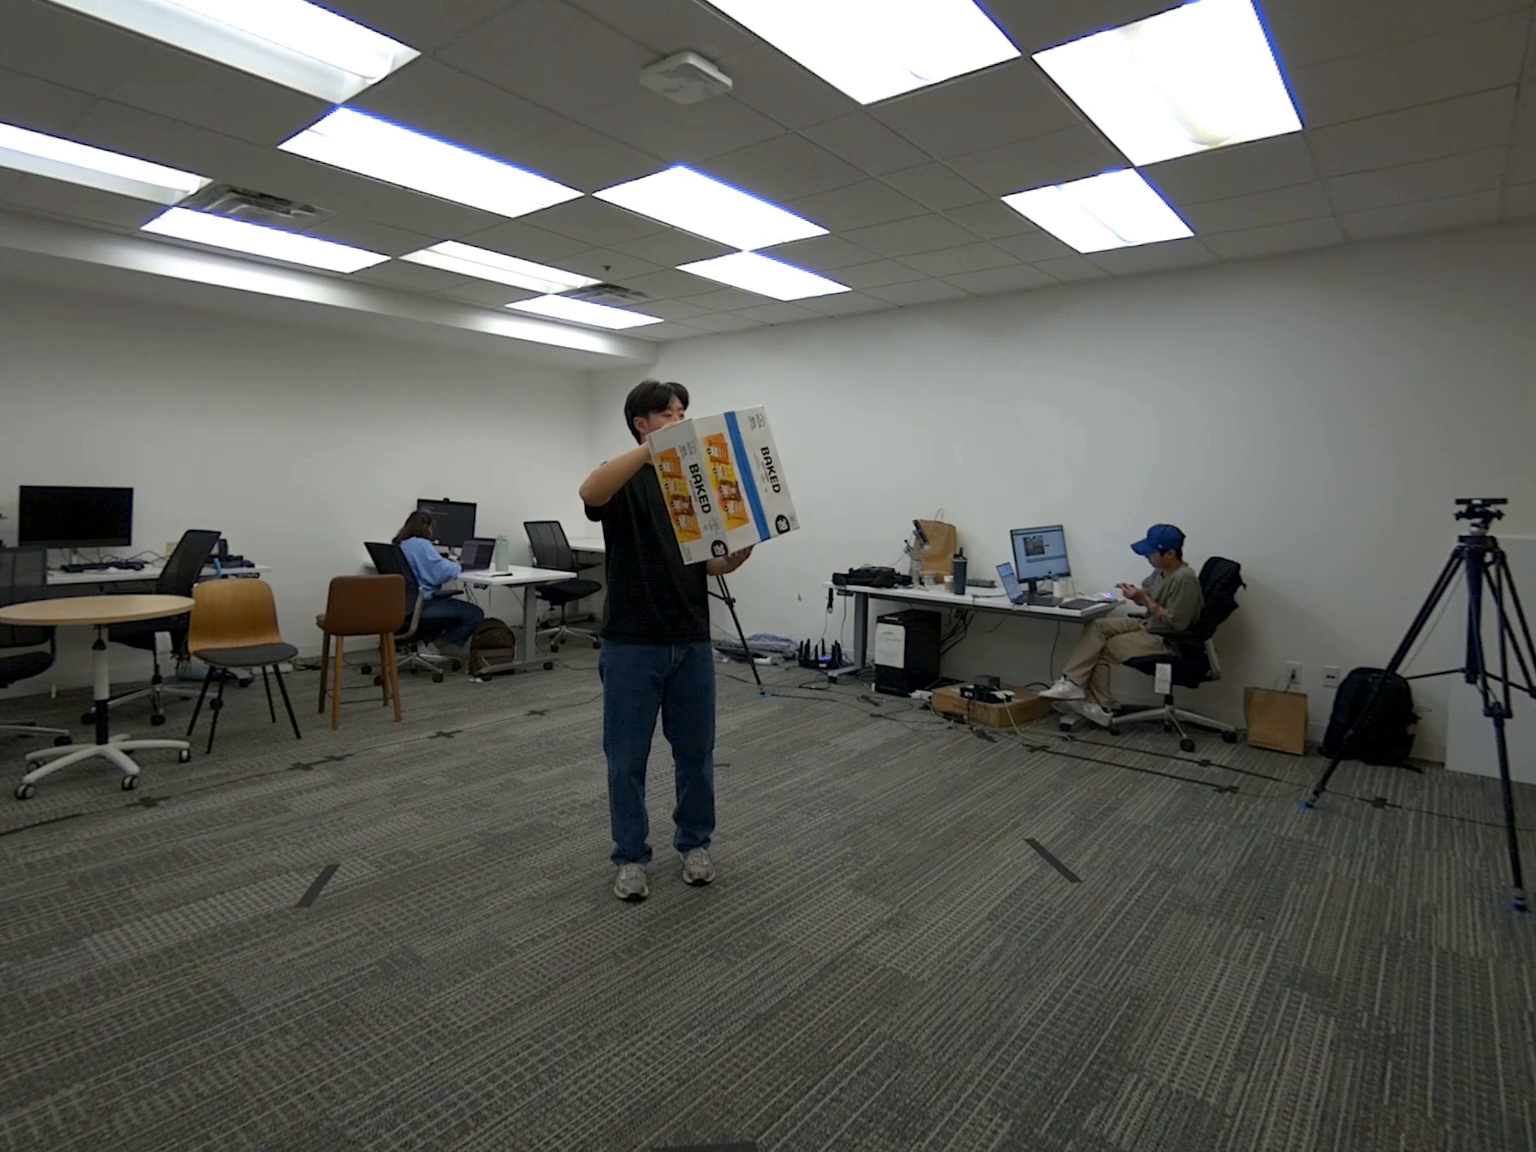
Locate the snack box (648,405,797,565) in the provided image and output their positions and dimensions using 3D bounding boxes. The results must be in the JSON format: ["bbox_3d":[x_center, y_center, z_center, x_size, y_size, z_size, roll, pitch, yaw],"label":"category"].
[{"bbox_3d":[-0.147,-0.284,2.596,0.210,0.404,0.333,-14,4,41],"label":"snack box"}]
